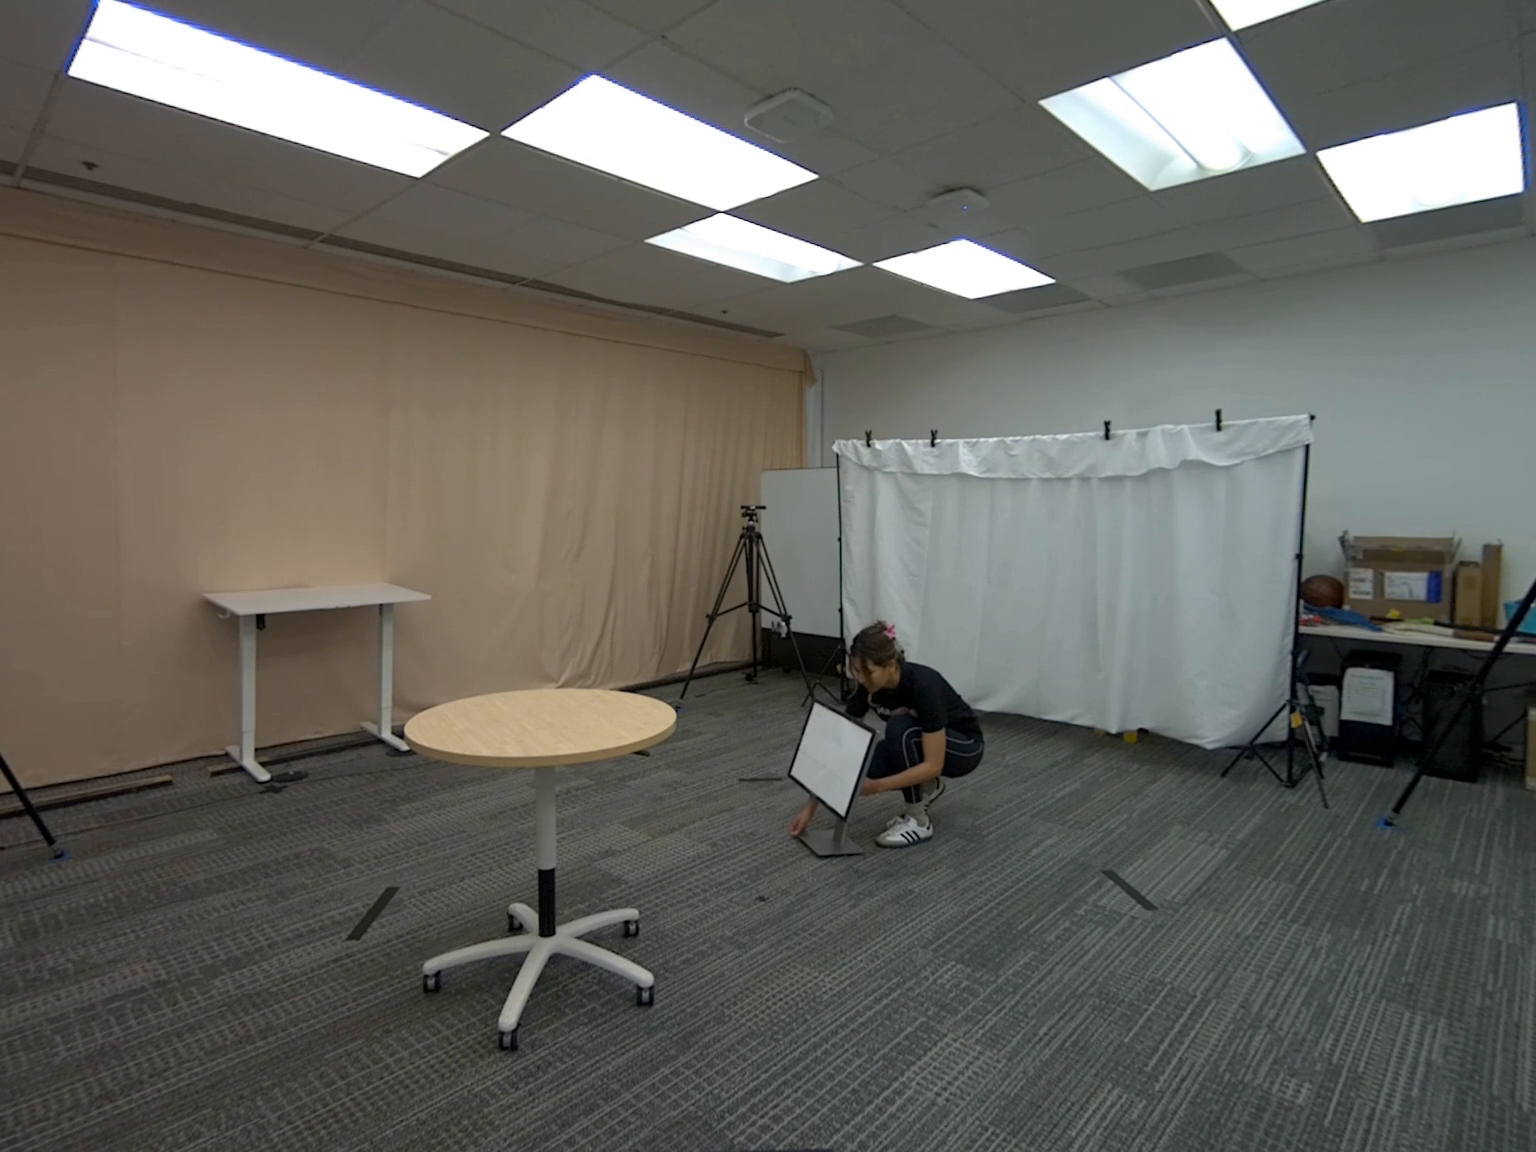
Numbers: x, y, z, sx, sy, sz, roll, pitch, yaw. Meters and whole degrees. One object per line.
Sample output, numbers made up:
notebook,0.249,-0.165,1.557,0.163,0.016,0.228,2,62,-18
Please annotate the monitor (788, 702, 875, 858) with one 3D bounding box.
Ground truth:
monitor,0.276,0.829,3.436,0.183,0.522,0.552,6,2,-23
